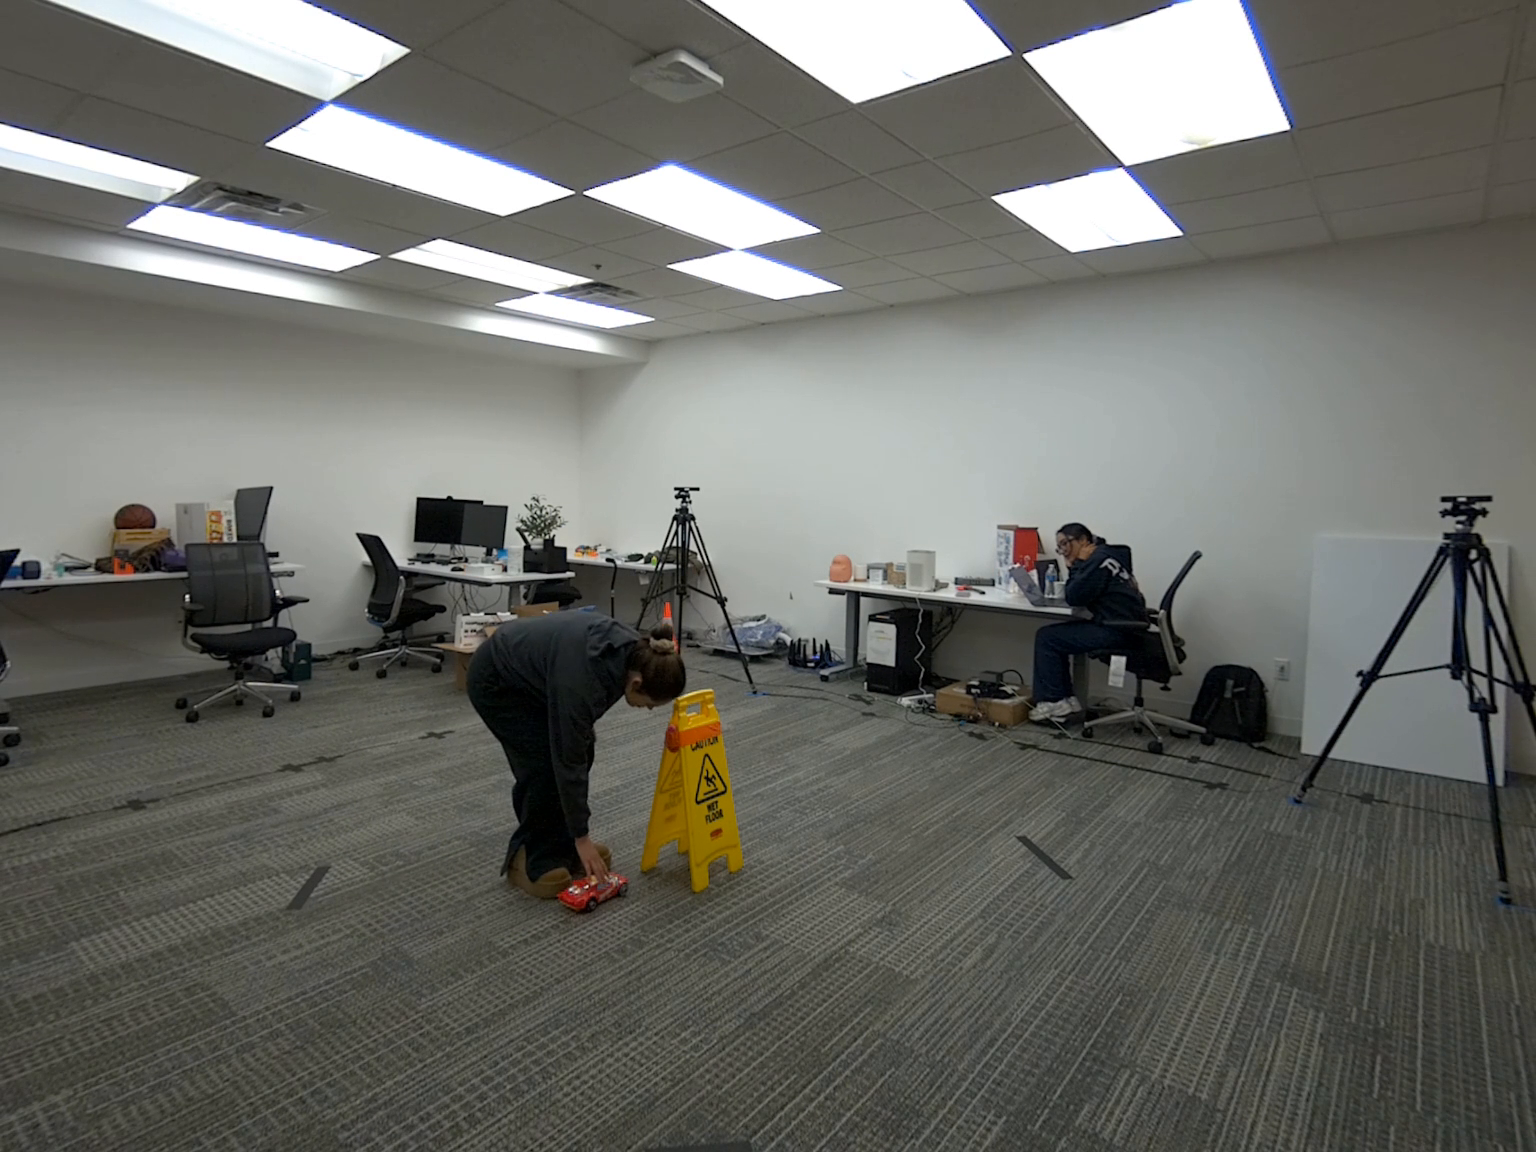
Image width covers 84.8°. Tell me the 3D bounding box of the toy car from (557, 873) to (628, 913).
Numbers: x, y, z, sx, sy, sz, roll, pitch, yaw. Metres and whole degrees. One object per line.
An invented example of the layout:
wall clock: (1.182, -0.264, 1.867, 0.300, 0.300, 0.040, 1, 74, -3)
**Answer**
toy car: (-0.592, 1.056, 2.845, 0.135, 0.083, 0.245, 5, -4, 39)
